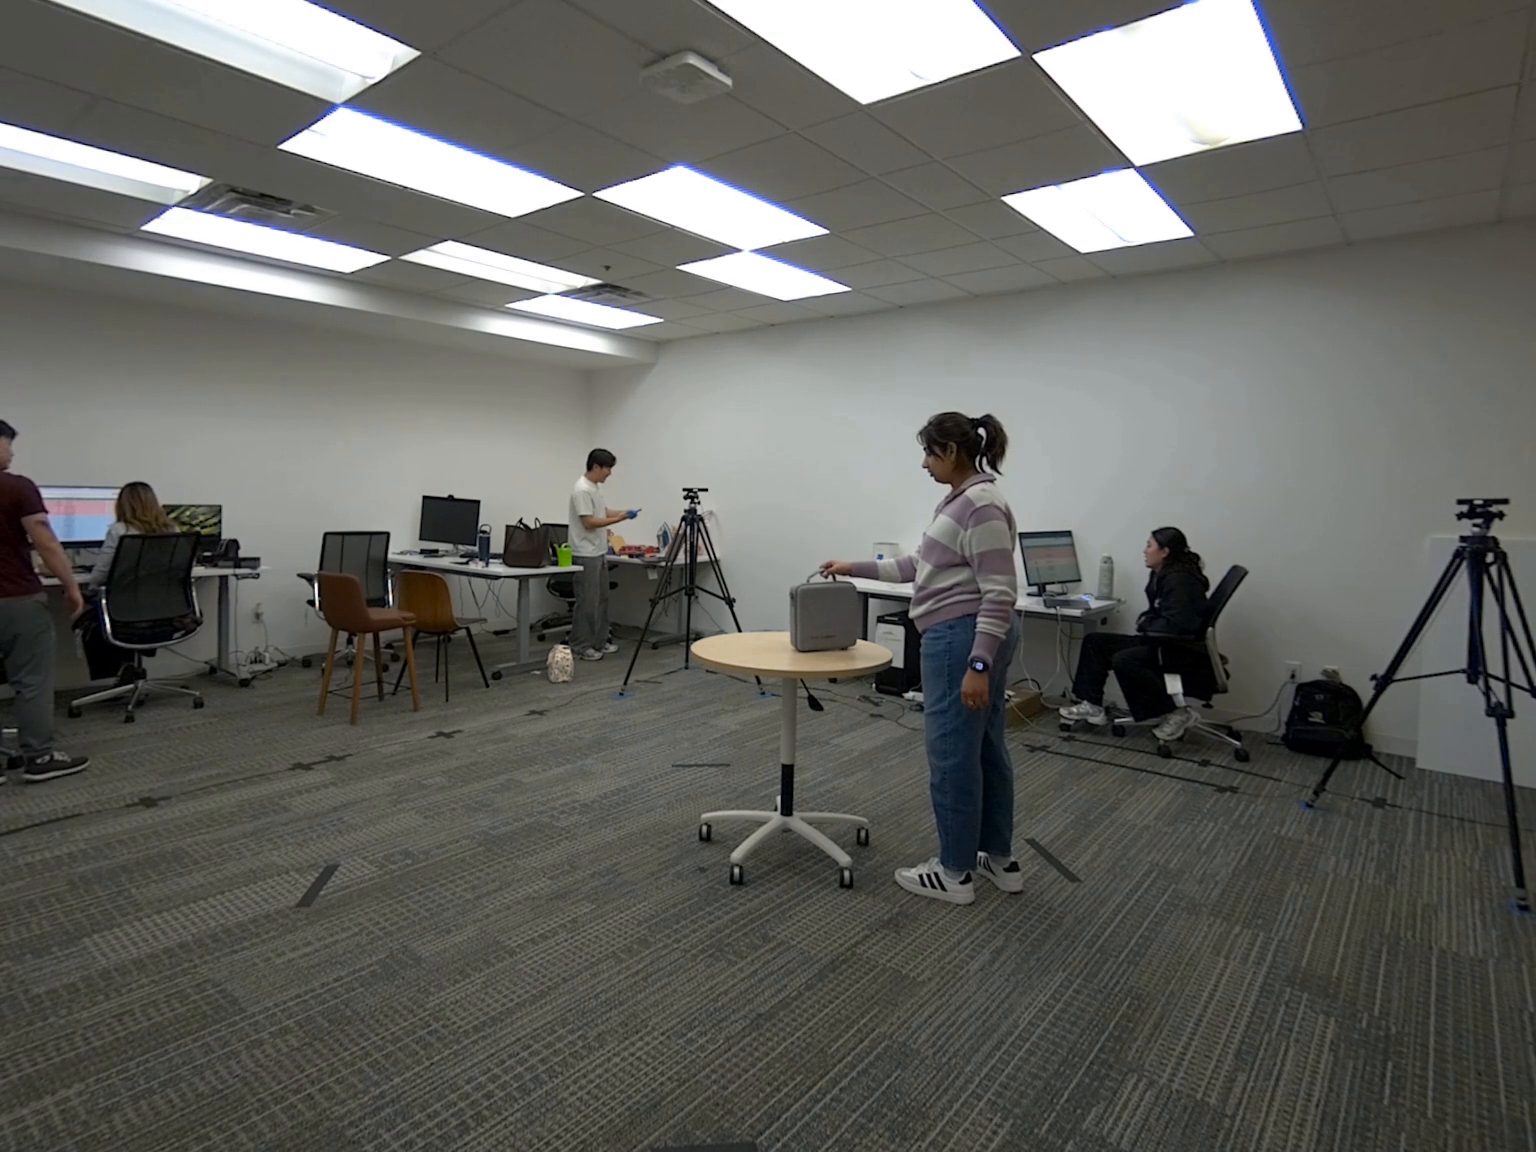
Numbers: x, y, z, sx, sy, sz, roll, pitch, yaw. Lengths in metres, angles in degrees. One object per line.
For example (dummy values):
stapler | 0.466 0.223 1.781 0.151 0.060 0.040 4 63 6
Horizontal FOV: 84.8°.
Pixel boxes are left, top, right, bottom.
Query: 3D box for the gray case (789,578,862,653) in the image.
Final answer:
gray case | 0.204 0.147 3.256 0.252 0.259 0.107 -1 6 -18
